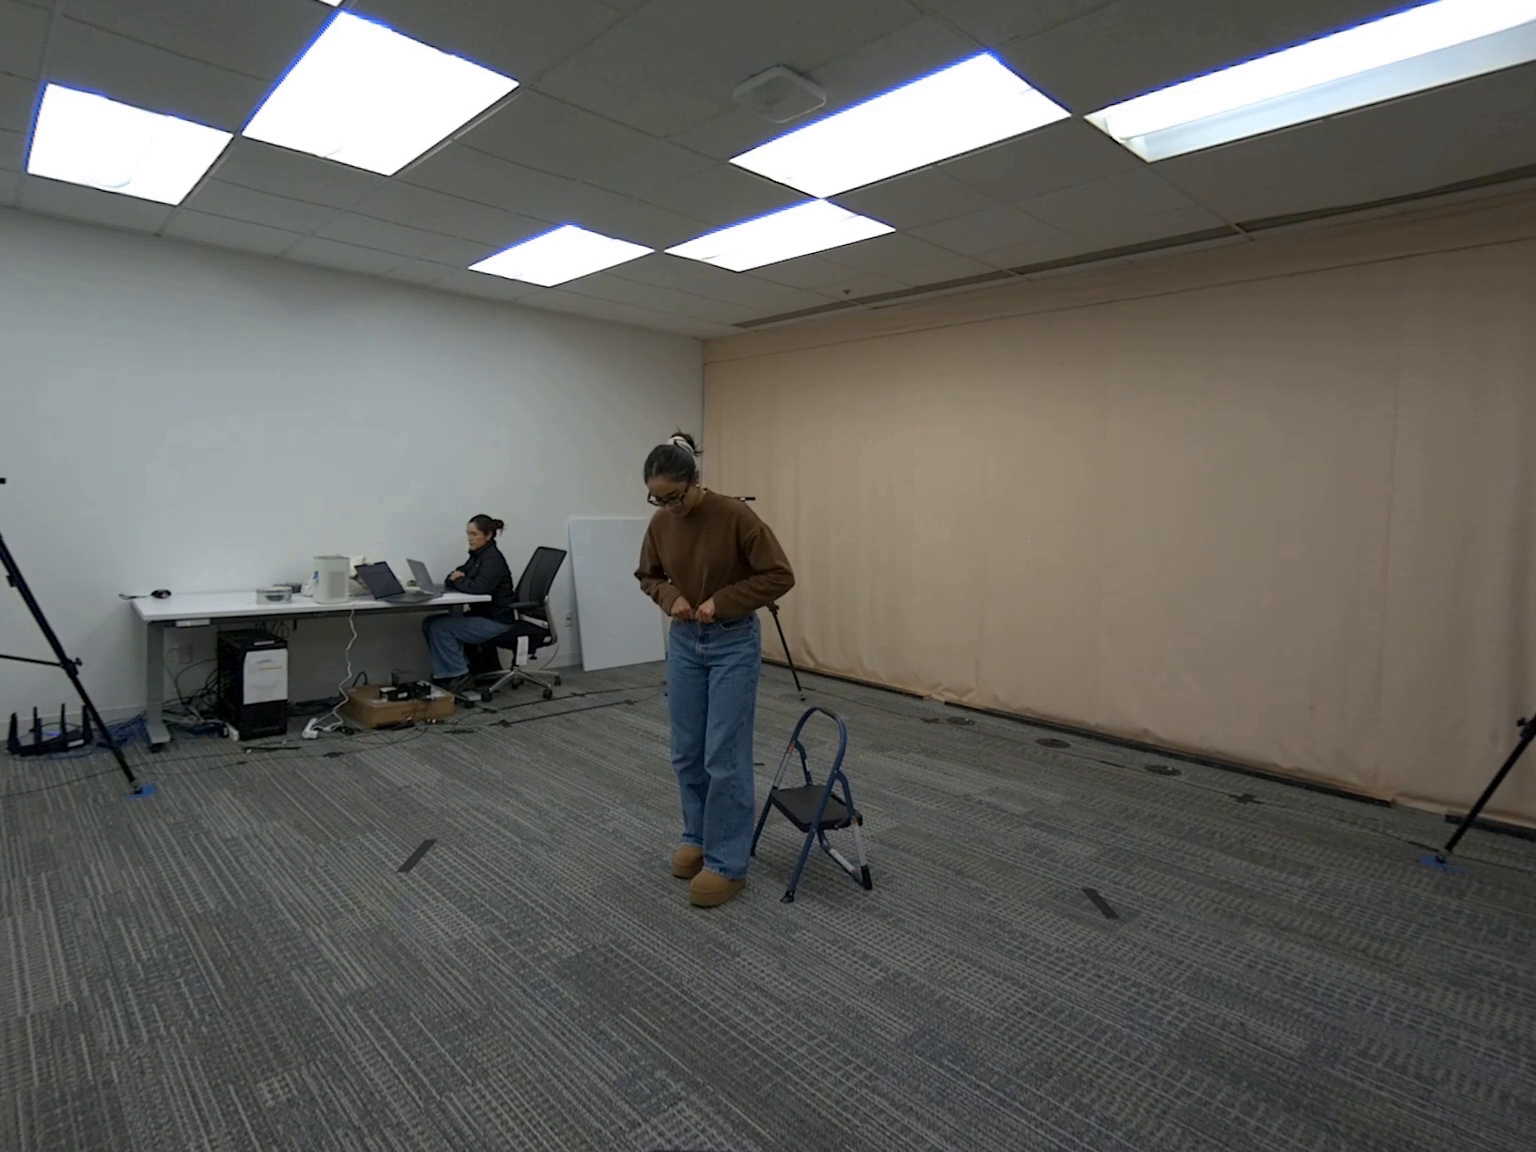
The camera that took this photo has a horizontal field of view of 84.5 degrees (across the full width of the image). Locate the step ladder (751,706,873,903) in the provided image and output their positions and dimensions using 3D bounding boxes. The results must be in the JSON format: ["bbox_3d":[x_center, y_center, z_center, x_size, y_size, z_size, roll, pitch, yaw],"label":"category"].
[{"bbox_3d":[0.144,0.810,3.136,0.344,0.604,0.438,0,4,-21],"label":"step ladder"}]
